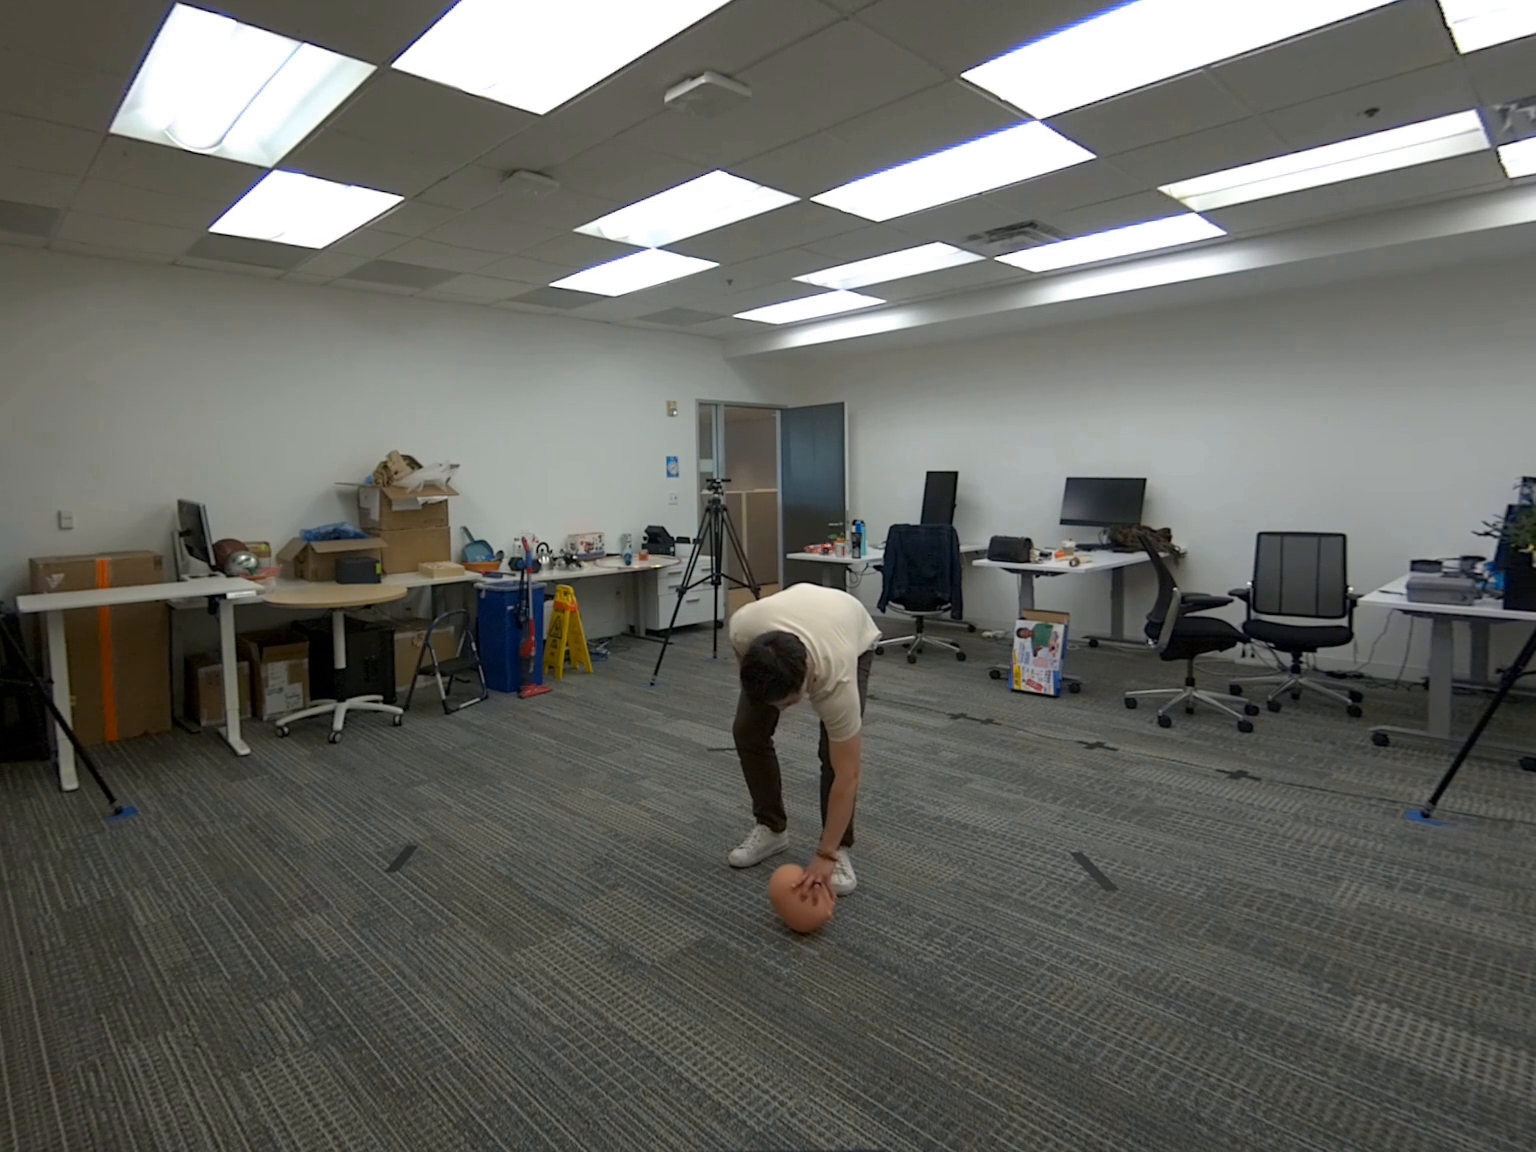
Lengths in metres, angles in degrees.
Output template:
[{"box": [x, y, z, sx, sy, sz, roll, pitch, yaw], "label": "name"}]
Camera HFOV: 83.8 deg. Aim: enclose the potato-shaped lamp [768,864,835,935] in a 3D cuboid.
[{"box": [0.109, 0.996, 2.641, 0.172, 0.199, 0.163, -41, -3, 15], "label": "potato-shaped lamp"}]
